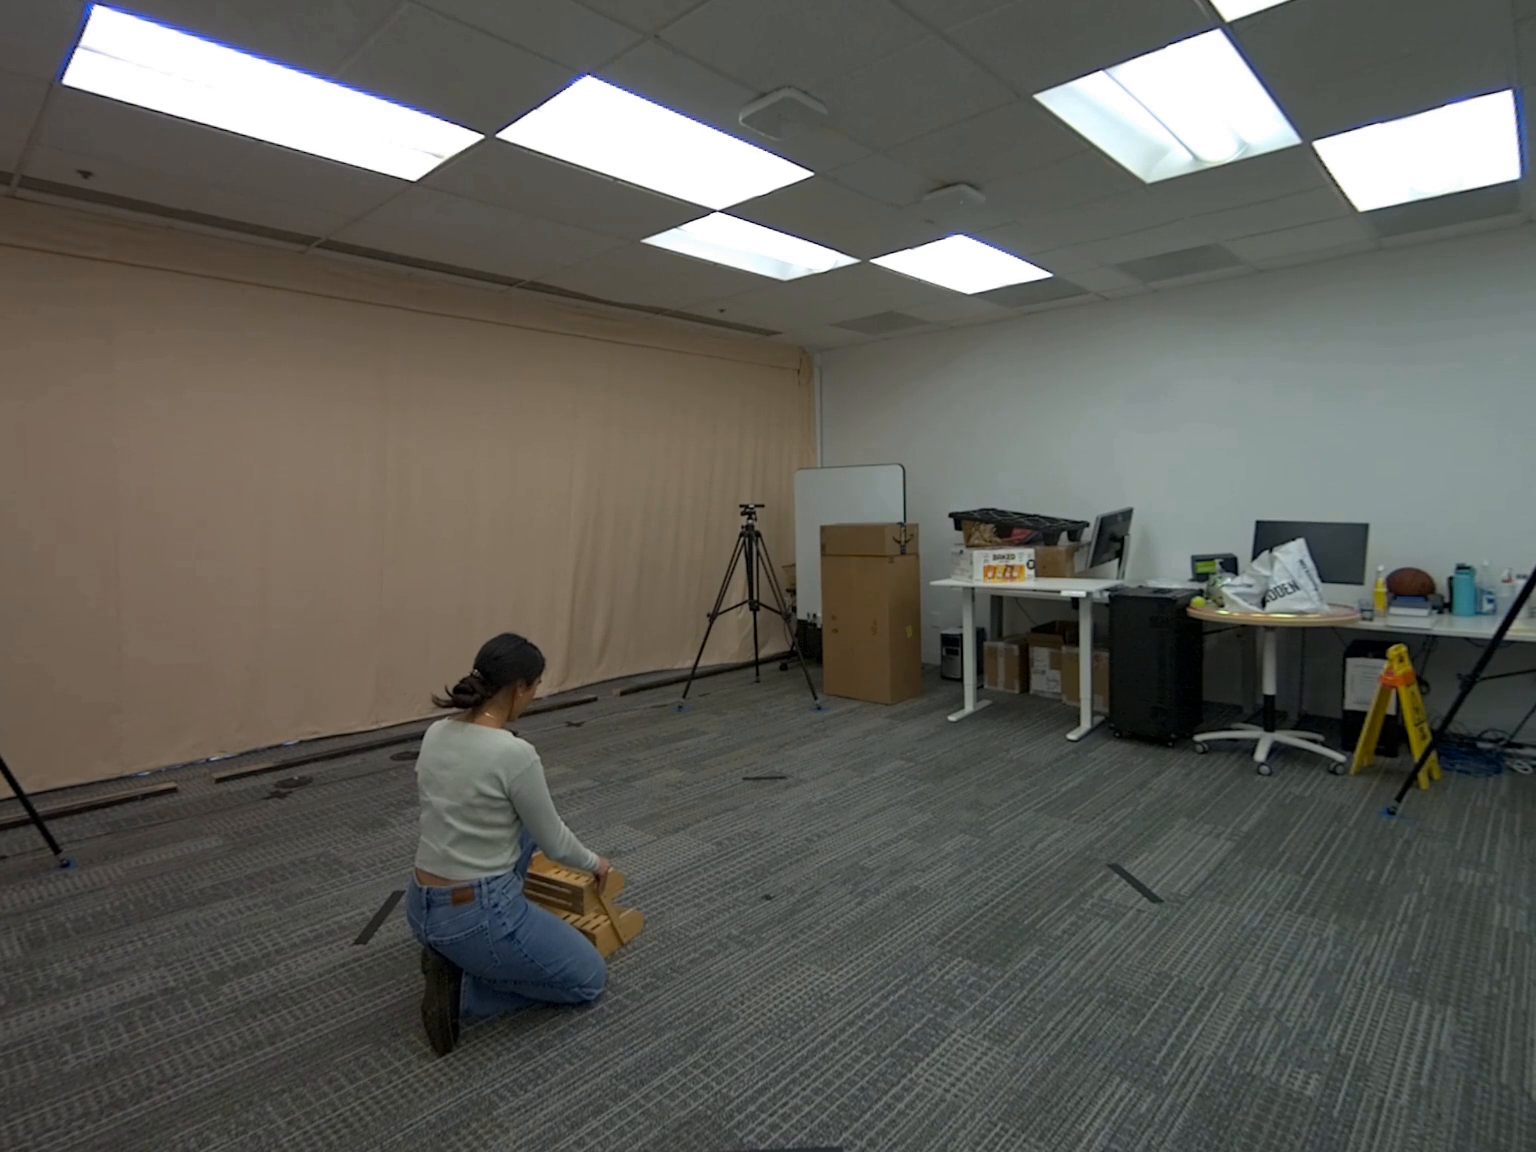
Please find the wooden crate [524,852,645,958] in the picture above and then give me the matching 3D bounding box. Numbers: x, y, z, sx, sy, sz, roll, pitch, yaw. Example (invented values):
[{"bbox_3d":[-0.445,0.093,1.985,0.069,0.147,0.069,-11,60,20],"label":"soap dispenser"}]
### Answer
[{"bbox_3d":[-0.609,1.036,2.733,0.334,0.273,0.294,0,4,31],"label":"wooden crate"}]
